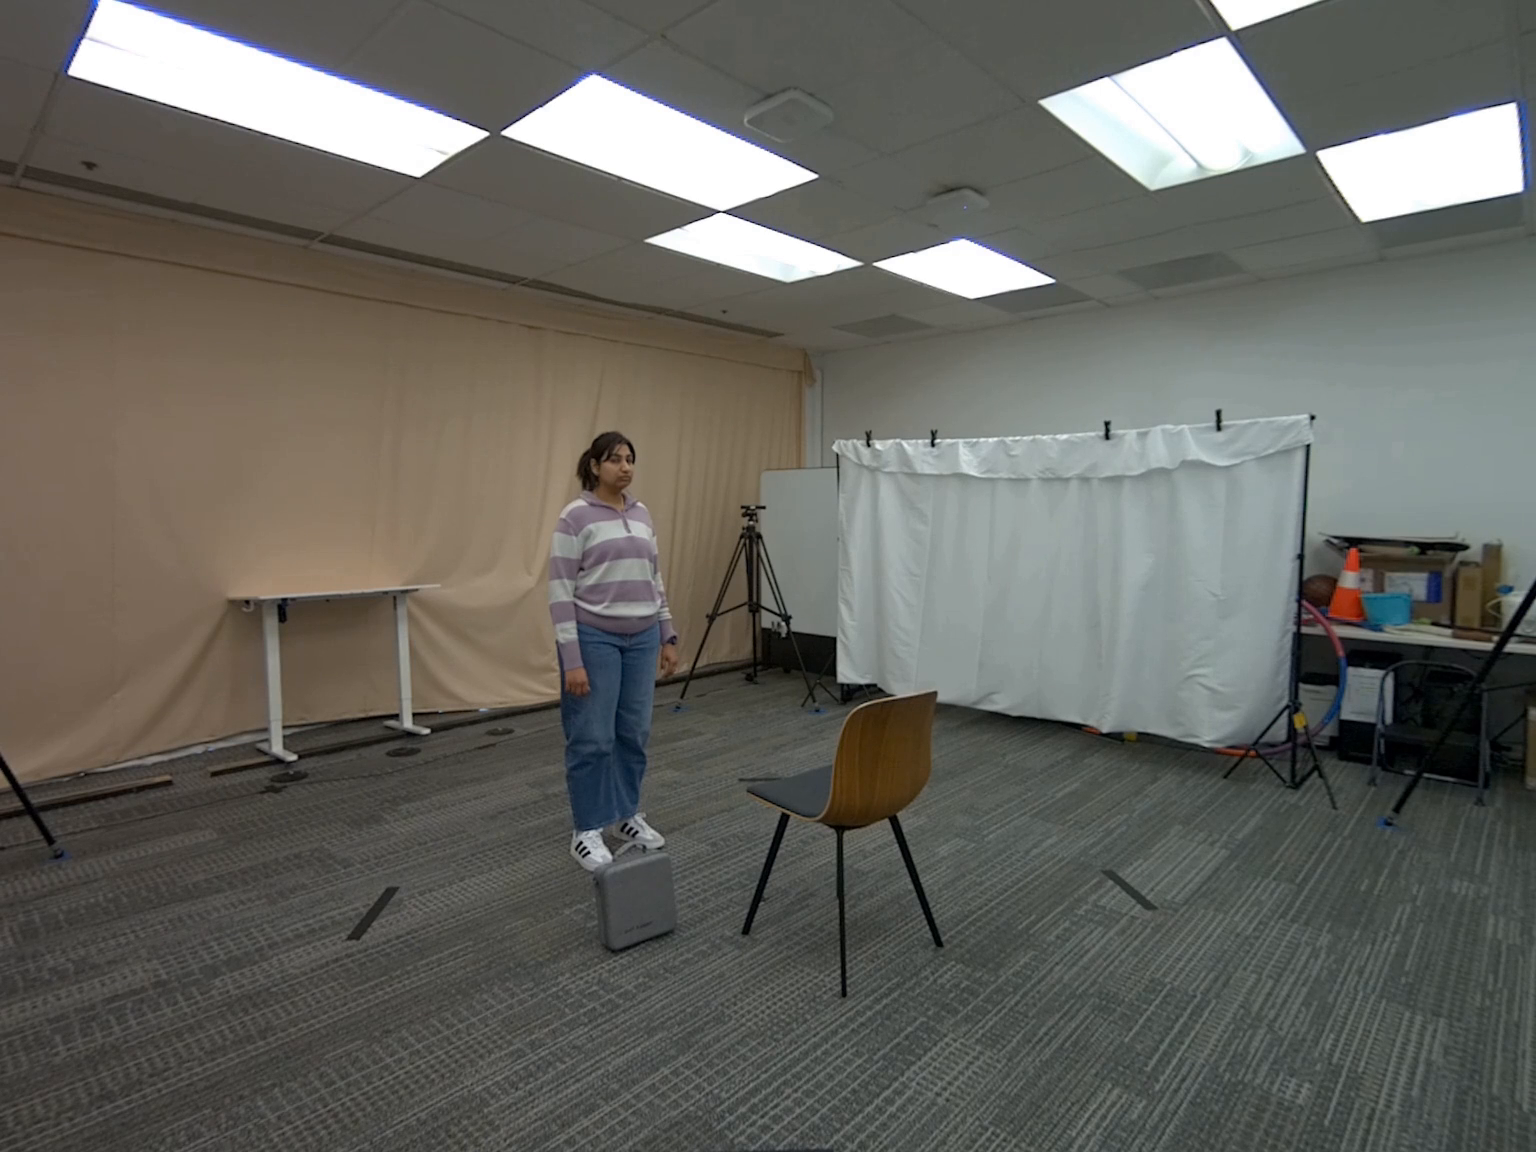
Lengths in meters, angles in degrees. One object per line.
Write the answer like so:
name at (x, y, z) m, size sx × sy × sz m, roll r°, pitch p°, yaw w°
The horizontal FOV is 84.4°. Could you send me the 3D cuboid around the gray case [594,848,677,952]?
gray case at (-0.425, 1.032, 2.718) m, size 0.250 × 0.261 × 0.107 m, roll -3°, pitch -2°, yaw -31°
